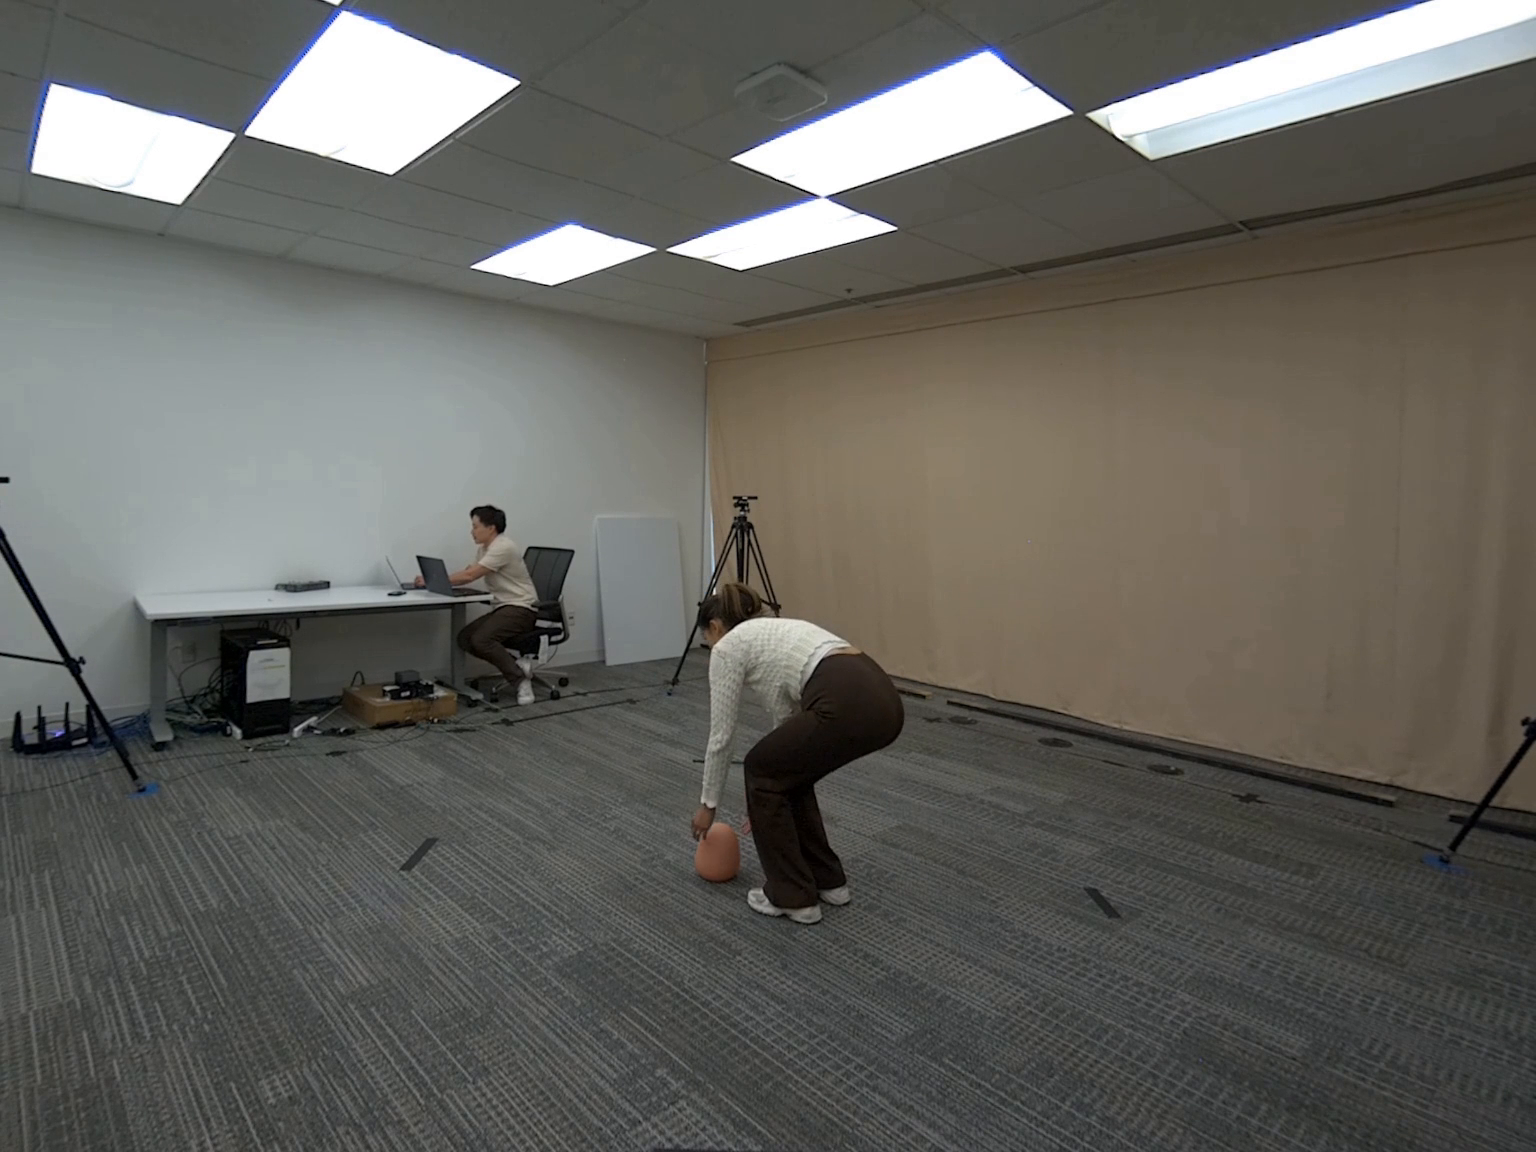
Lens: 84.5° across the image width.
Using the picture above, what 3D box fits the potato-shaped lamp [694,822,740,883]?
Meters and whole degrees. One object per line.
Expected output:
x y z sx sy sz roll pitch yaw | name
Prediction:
-0.187 1.000 3.077 0.162 0.197 0.175 -1 7 -20 | potato-shaped lamp
